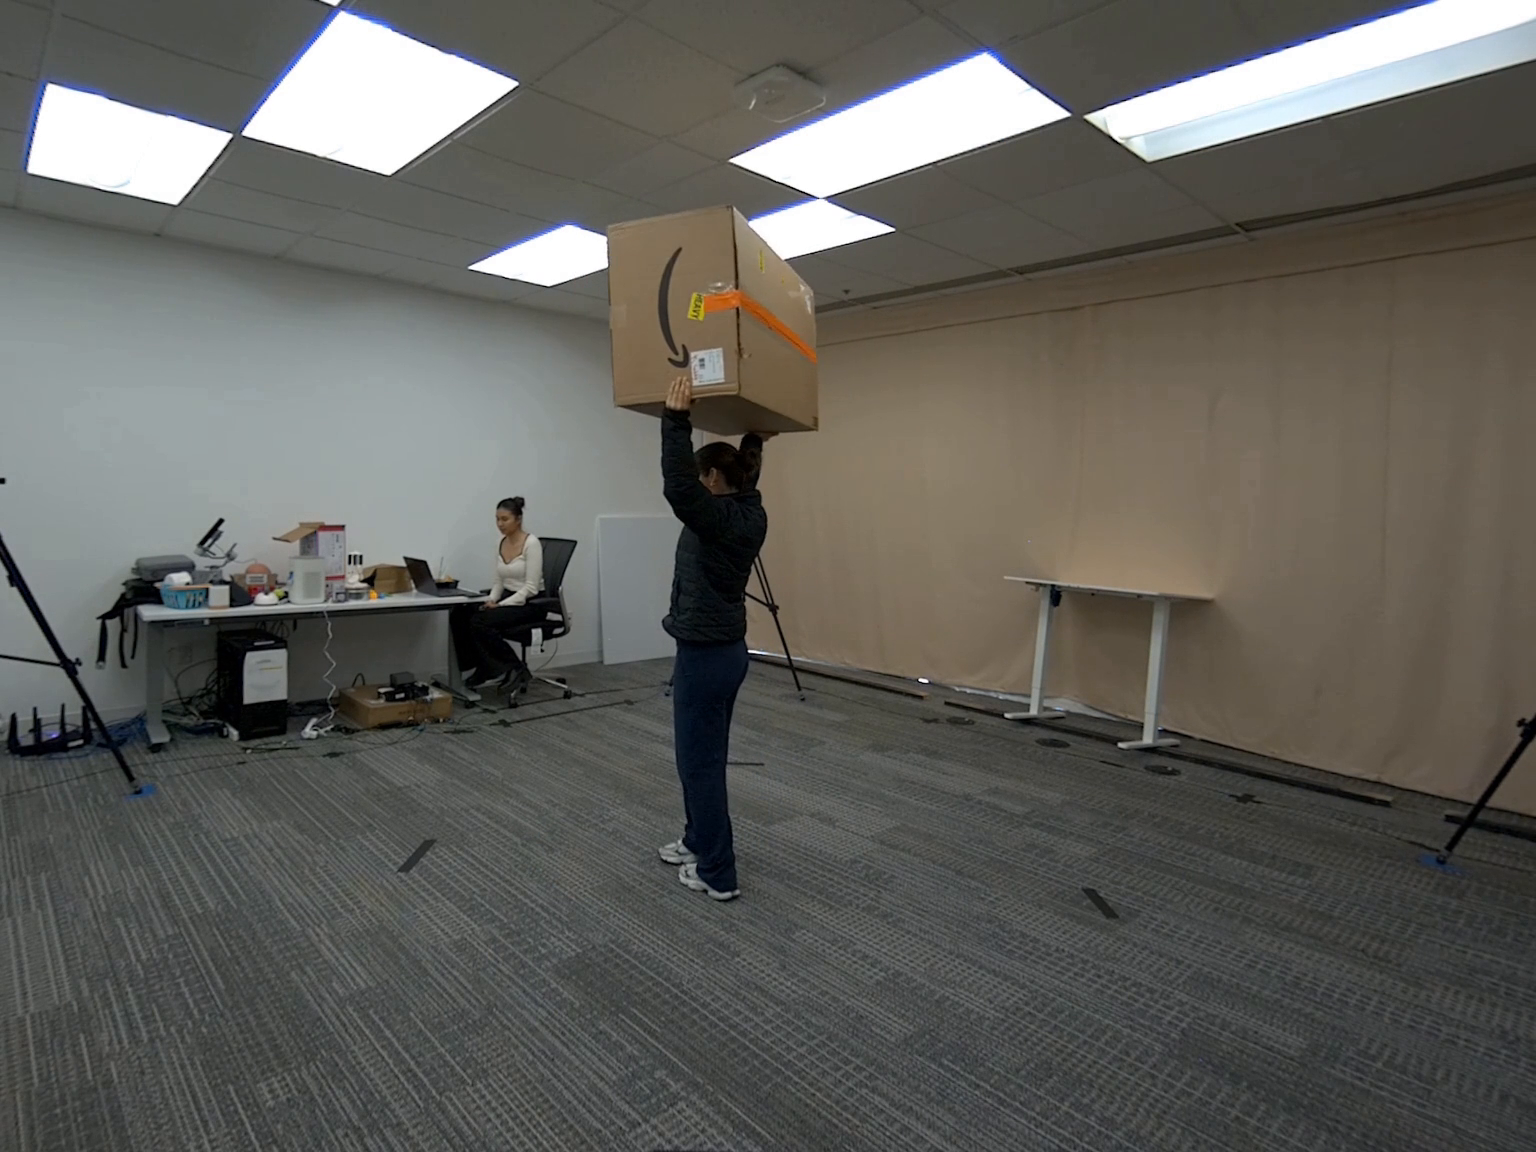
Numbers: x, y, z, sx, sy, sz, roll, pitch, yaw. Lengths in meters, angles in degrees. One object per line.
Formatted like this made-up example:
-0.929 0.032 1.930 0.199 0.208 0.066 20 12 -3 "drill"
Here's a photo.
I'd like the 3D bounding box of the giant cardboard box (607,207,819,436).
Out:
-0.157 -0.852 3.049 0.453 0.583 1.015 -1 3 16 "giant cardboard box"
